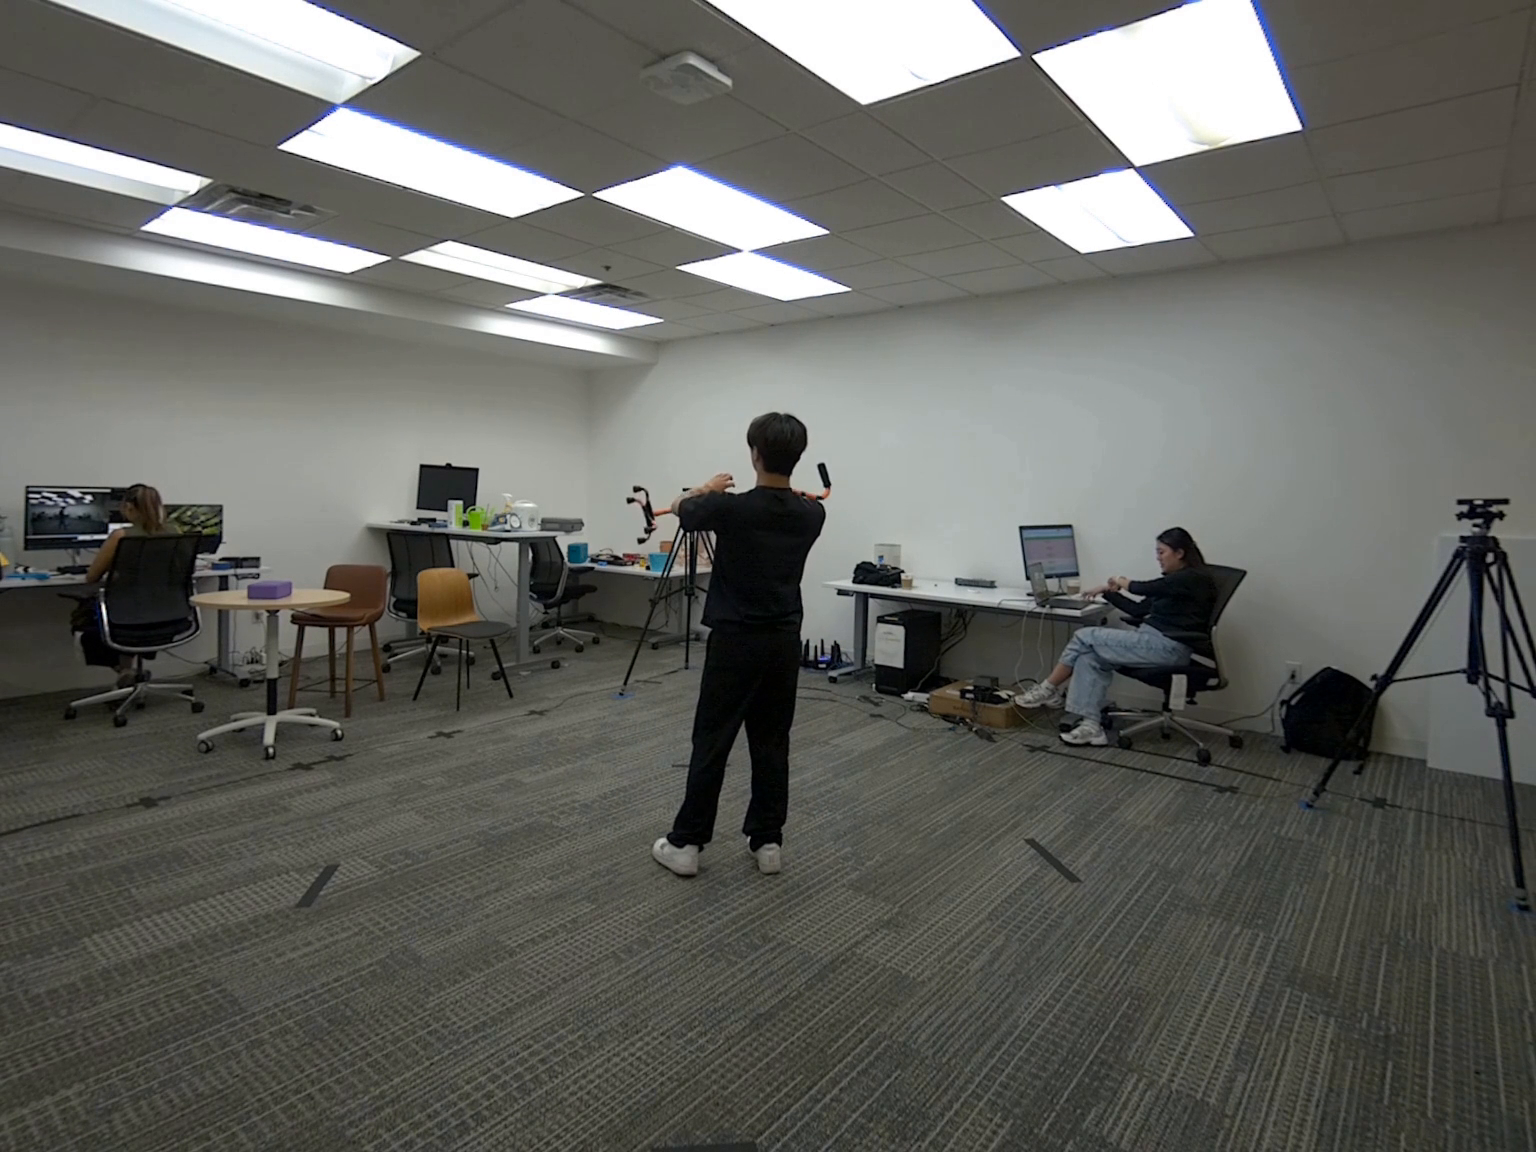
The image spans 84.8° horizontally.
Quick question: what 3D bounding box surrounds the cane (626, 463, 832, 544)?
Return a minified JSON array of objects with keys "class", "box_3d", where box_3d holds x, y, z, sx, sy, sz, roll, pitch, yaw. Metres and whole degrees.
[{"class":"cane","box_3d":[-0.135,-0.324,3.575,0.892,0.210,0.151,-11,-15,-21]}]
